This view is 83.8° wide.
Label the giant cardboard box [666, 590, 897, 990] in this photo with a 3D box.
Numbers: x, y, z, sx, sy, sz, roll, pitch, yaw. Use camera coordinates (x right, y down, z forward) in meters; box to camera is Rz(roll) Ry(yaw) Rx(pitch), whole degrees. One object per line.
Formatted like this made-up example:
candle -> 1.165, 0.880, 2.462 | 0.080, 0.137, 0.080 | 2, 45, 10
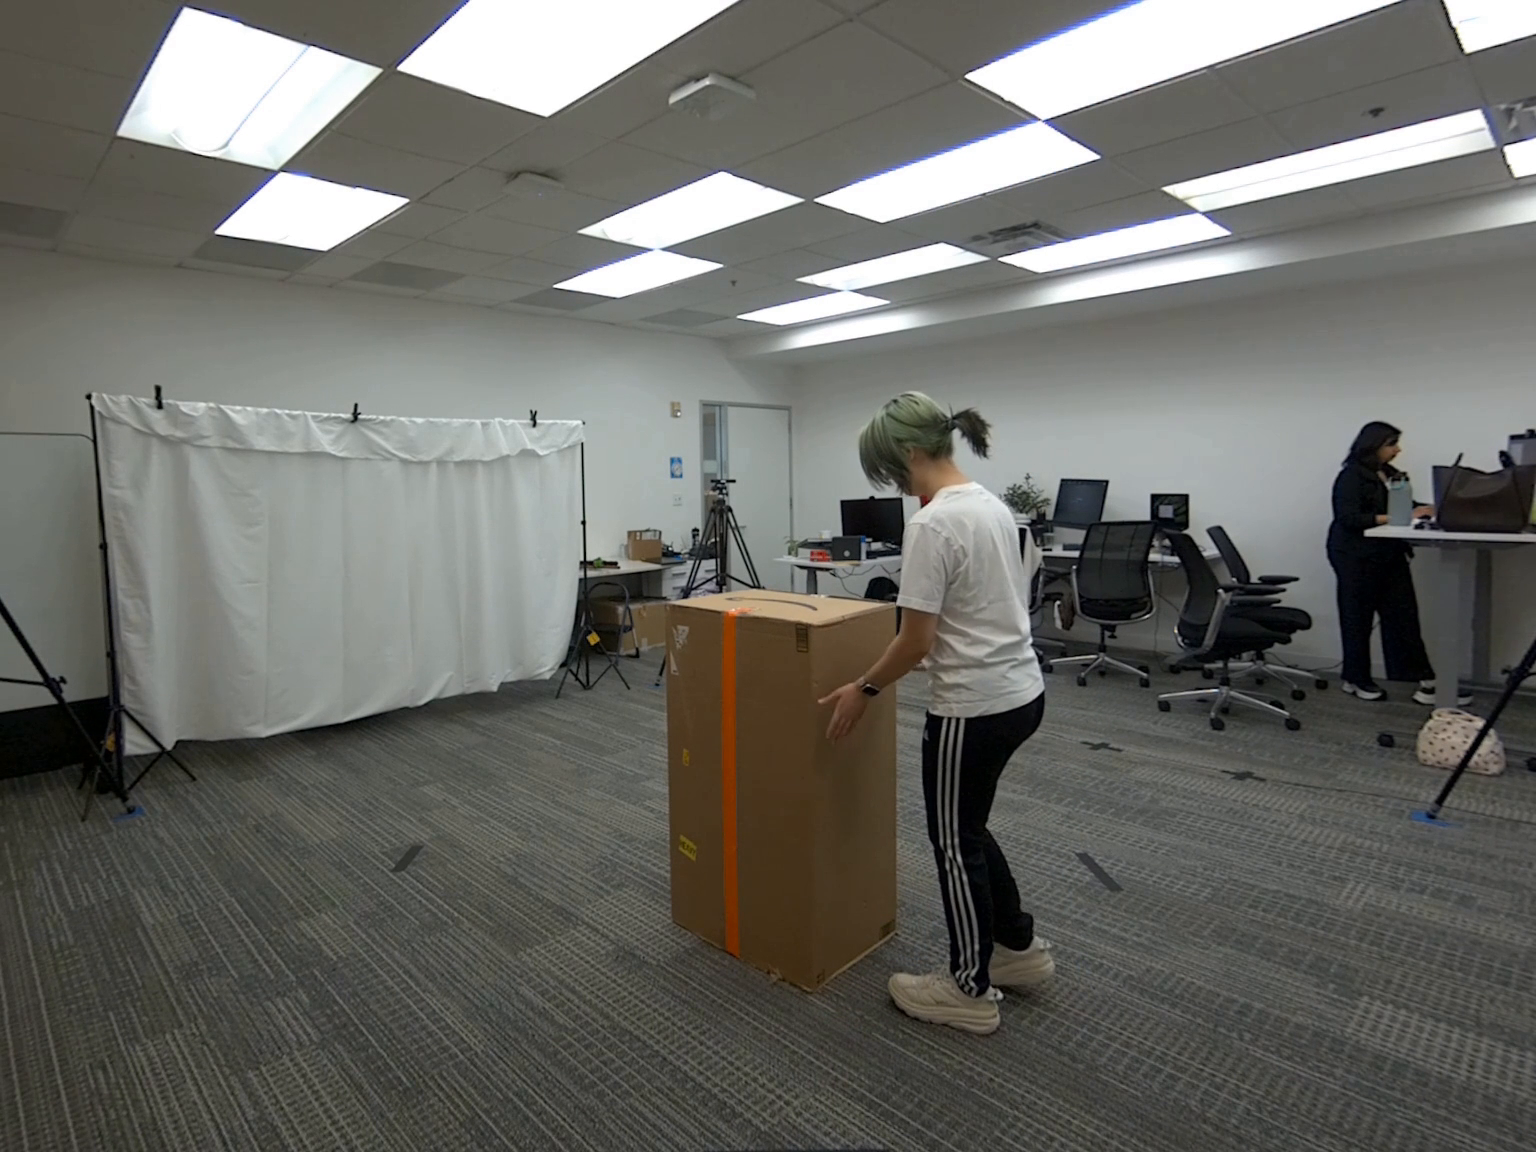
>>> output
giant cardboard box -> 0.036, 0.593, 2.630 | 0.602, 1.024, 0.435 | 3, 5, 42
